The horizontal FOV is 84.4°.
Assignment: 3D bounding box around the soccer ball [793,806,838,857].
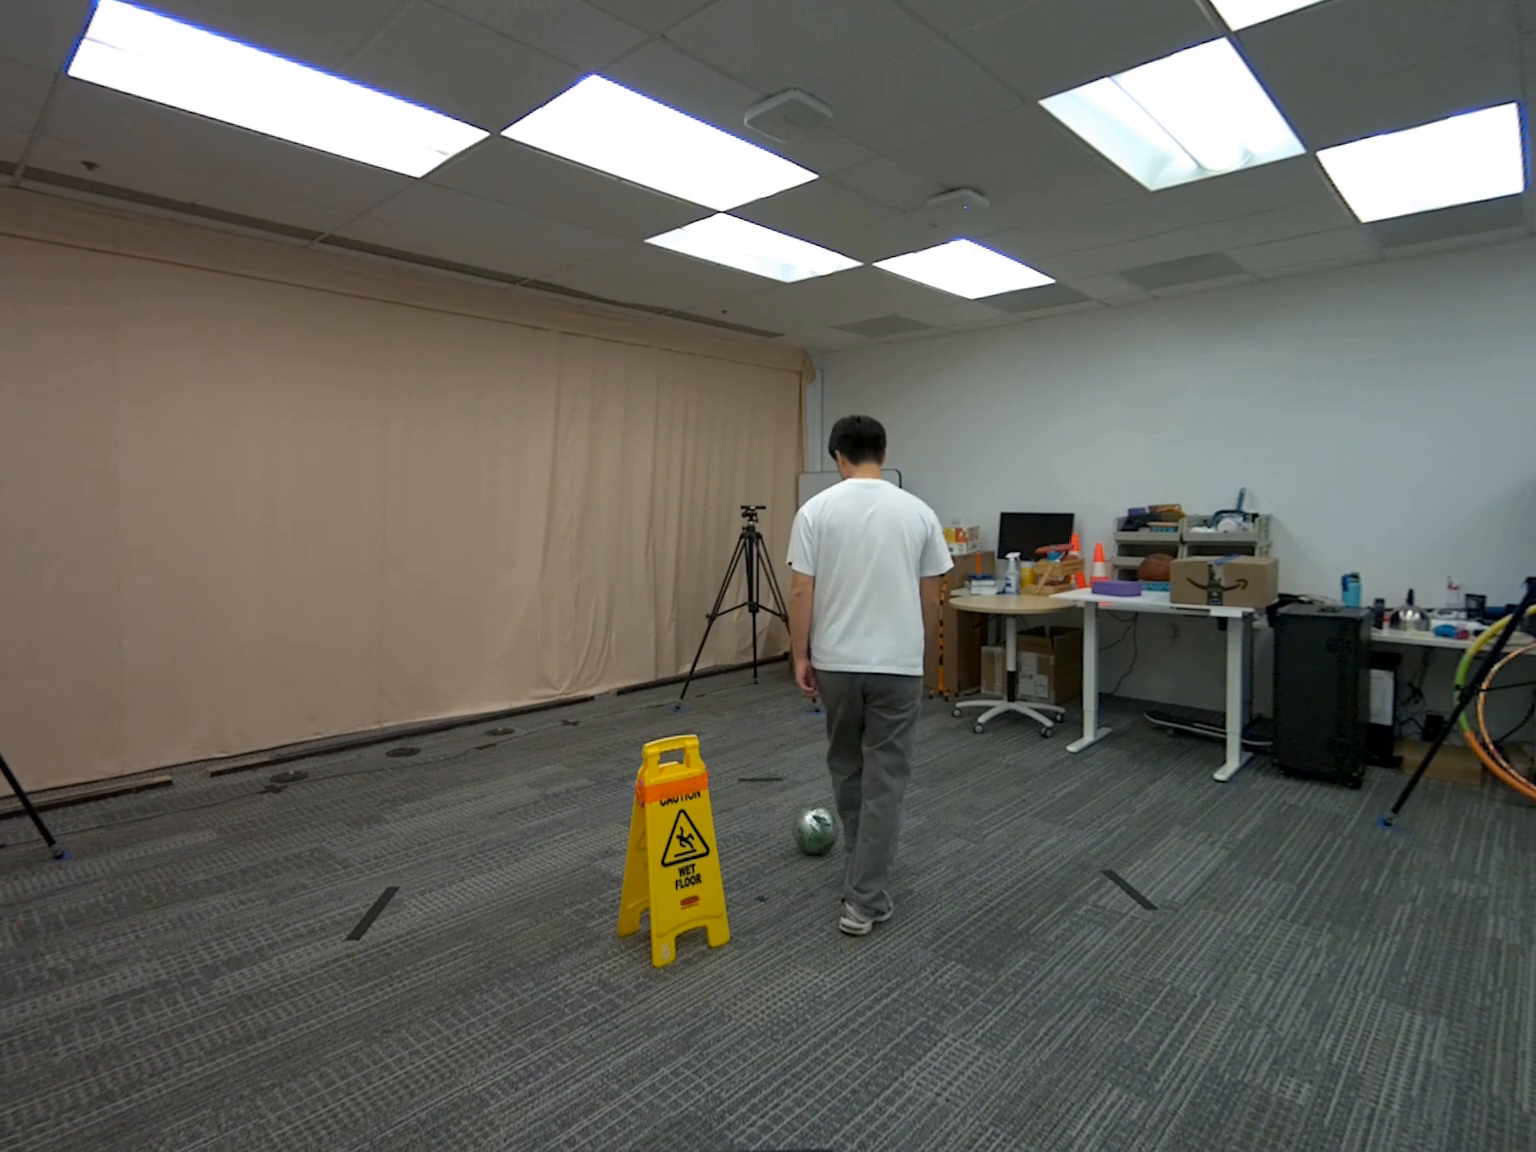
[{"bbox_3d":[0.199,1.018,3.371,0.187,0.187,0.188,0,4,-2],"label":"soccer ball"}]
